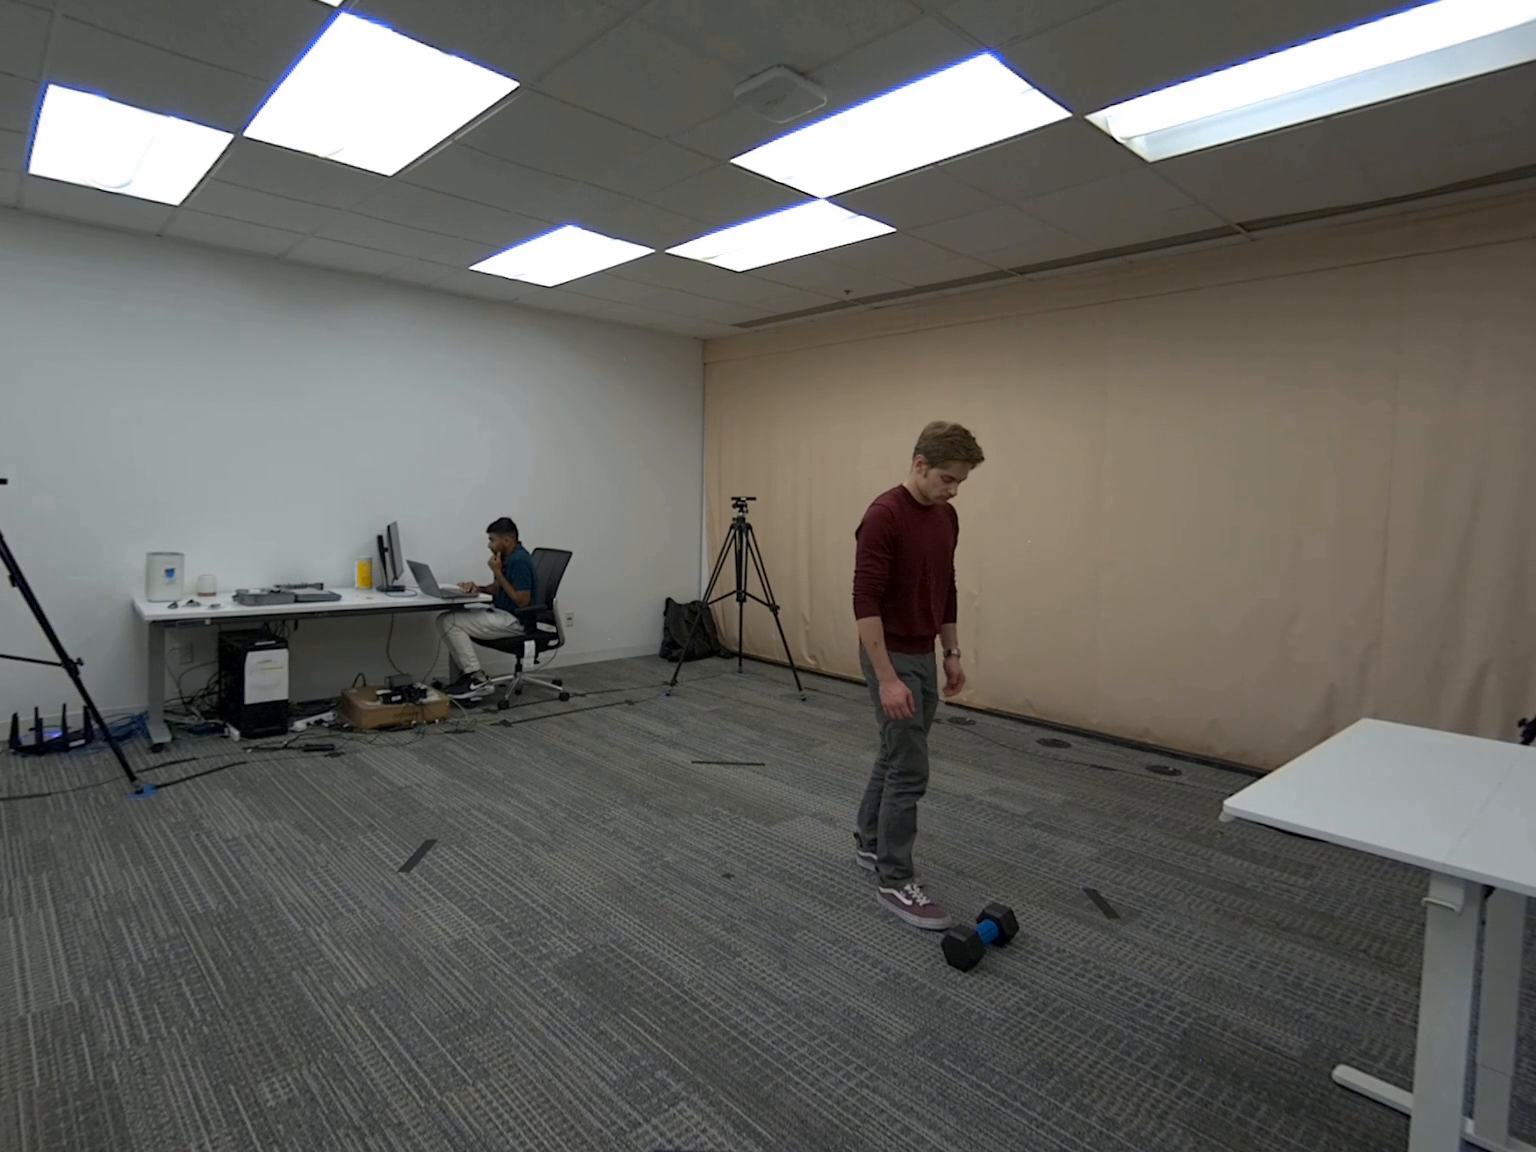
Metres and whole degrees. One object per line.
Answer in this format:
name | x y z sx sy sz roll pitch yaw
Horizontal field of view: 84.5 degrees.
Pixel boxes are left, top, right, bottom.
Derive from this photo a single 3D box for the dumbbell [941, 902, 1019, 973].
dumbbell | 0.658 1.117 2.614 0.287 0.122 0.112 -5 40 -46
